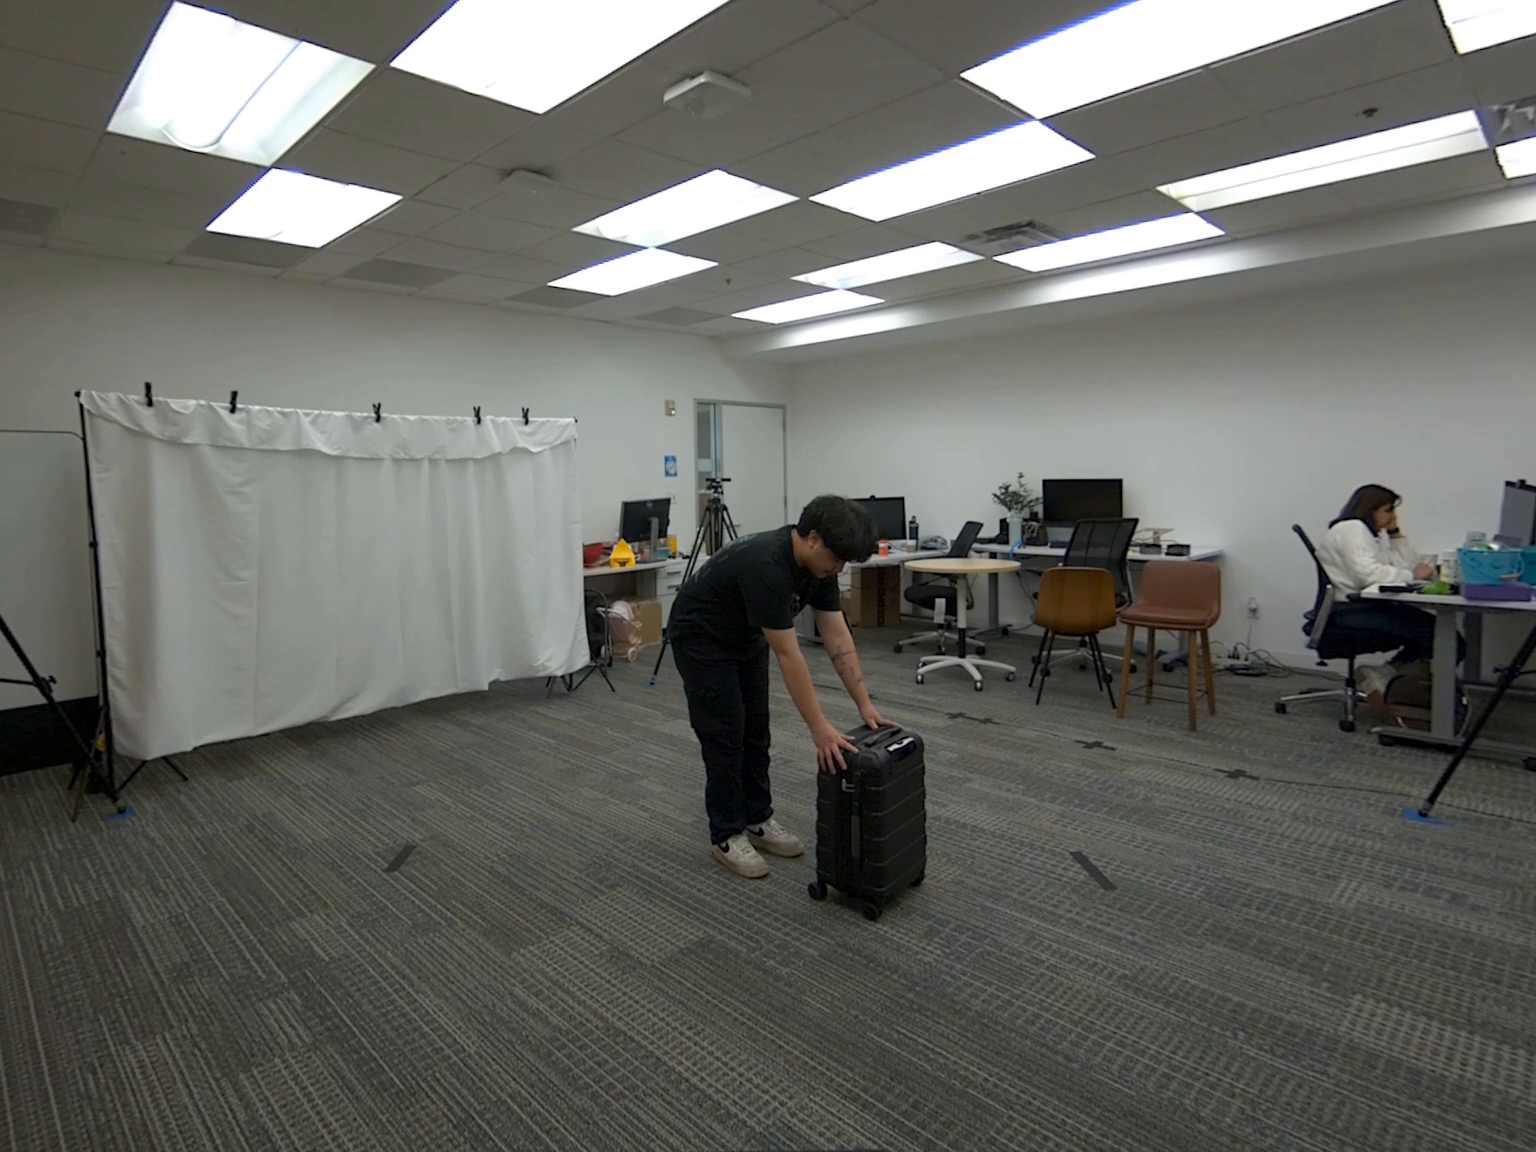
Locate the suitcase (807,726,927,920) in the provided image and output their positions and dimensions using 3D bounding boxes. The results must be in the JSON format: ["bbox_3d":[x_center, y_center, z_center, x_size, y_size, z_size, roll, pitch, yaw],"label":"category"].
[{"bbox_3d":[0.352,0.793,2.844,0.256,0.547,0.366,3,6,36],"label":"suitcase"}]
